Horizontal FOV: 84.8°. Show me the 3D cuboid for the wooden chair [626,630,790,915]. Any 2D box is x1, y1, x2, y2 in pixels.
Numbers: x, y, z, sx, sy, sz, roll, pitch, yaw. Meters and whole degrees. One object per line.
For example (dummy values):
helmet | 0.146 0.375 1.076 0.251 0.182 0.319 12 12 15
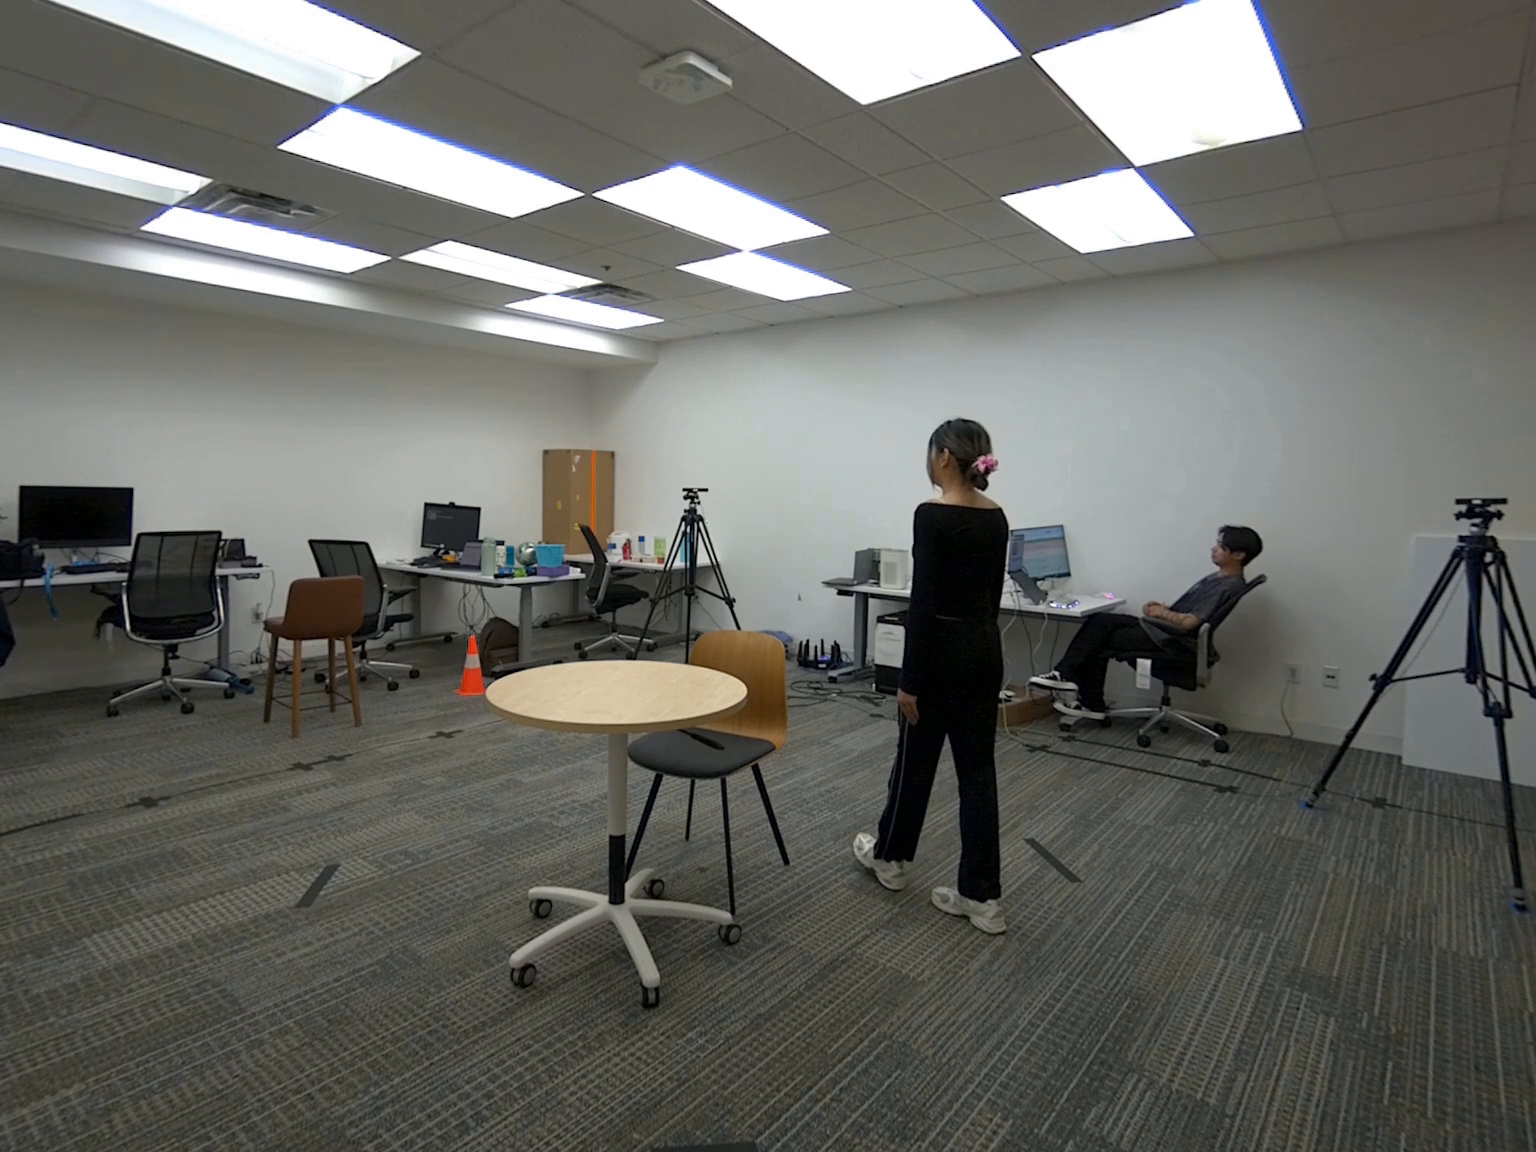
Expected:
wooden chair | -0.220 0.648 3.045 0.491 0.878 0.508 3 -1 28
